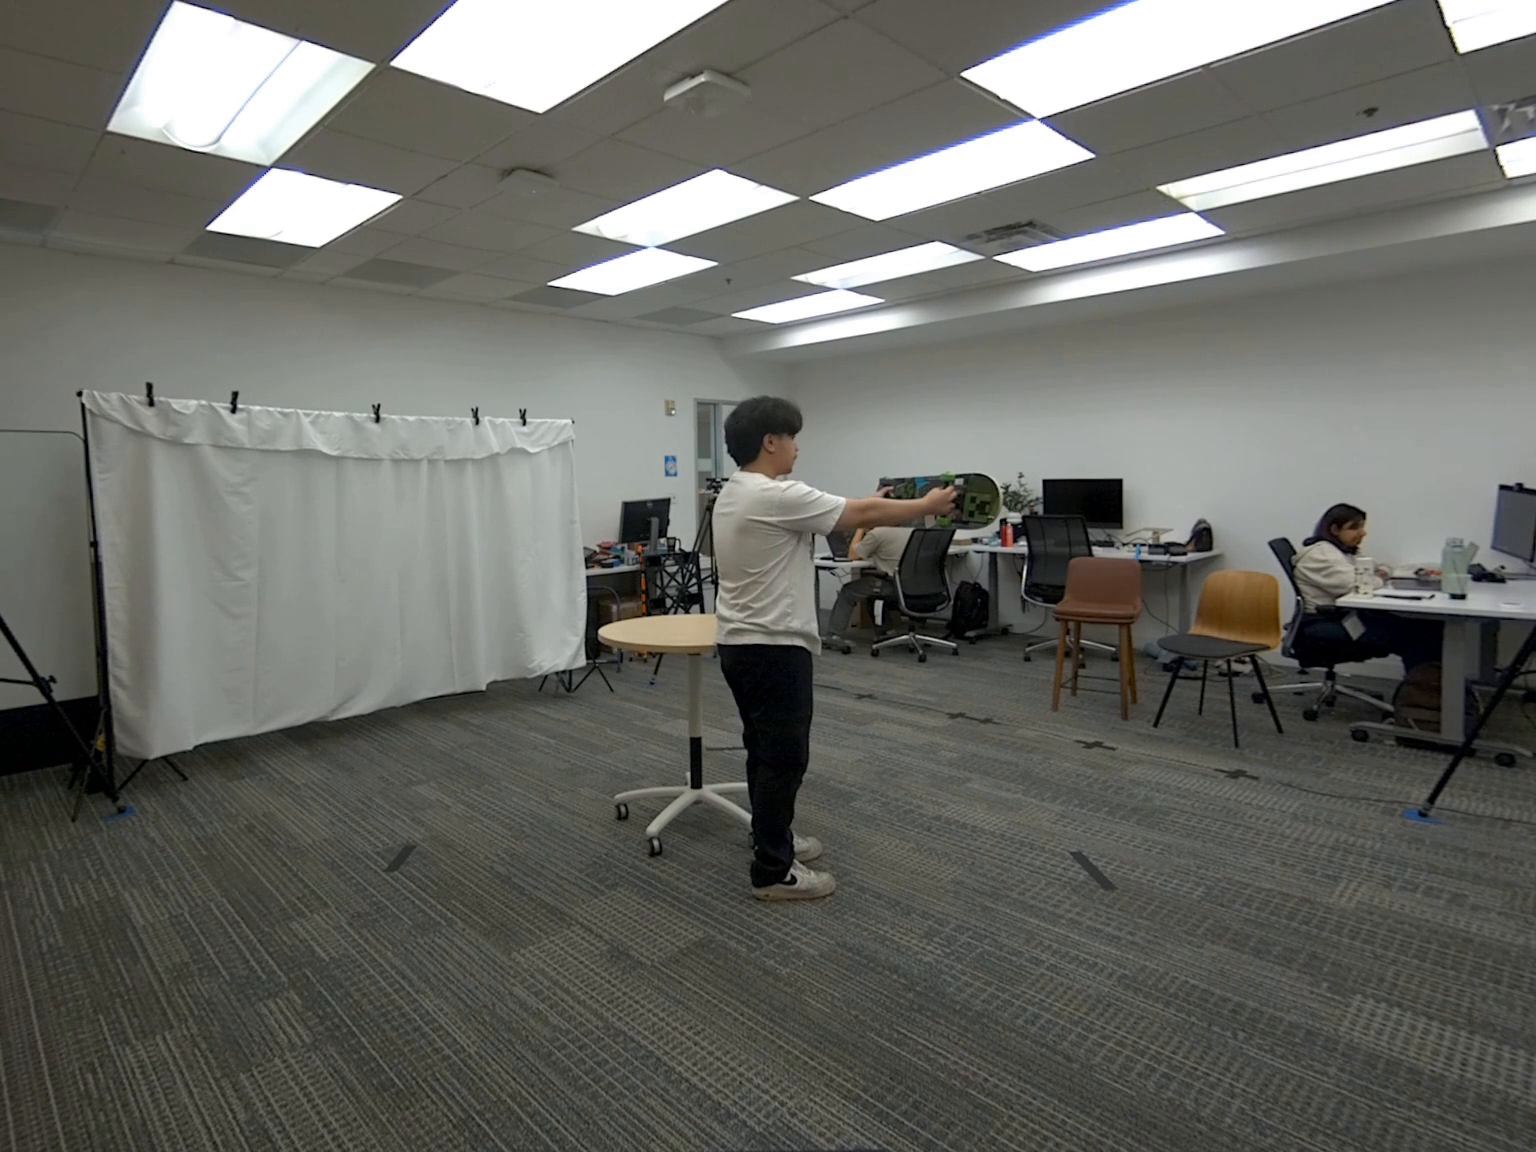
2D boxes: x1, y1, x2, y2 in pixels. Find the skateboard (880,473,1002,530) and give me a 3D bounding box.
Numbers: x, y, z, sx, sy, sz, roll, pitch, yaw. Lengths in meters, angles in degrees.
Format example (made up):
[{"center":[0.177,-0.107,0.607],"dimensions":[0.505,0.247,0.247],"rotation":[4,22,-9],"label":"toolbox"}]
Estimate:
[{"center":[0.555,-0.272,3.119],"dimensions":[0.108,0.193,0.803],"rotation":[4,2,-23],"label":"skateboard"}]
